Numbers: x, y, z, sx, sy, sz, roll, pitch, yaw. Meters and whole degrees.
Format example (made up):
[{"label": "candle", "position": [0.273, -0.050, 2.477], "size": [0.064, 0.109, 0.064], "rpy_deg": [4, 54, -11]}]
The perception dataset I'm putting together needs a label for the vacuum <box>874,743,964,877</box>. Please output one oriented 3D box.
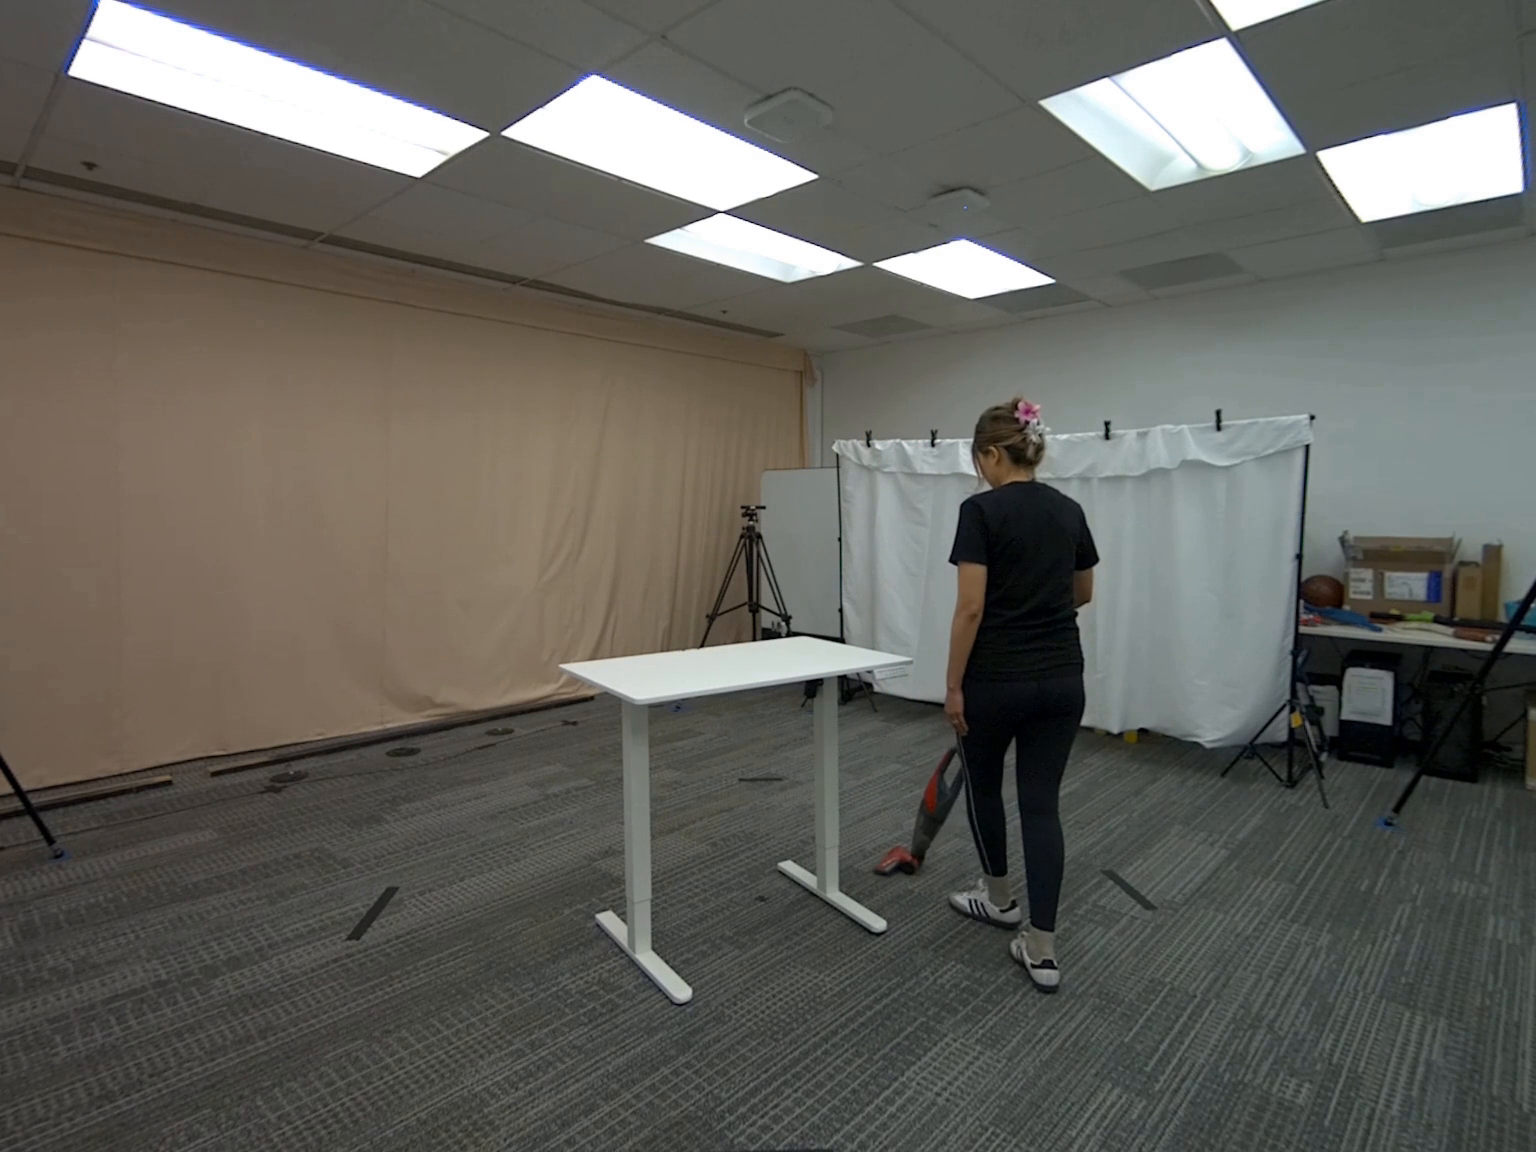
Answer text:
[{"label": "vacuum", "position": [0.727, 0.664, 3.118], "size": [0.148, 1.047, 0.245], "rpy_deg": [33, 18, 26]}]
